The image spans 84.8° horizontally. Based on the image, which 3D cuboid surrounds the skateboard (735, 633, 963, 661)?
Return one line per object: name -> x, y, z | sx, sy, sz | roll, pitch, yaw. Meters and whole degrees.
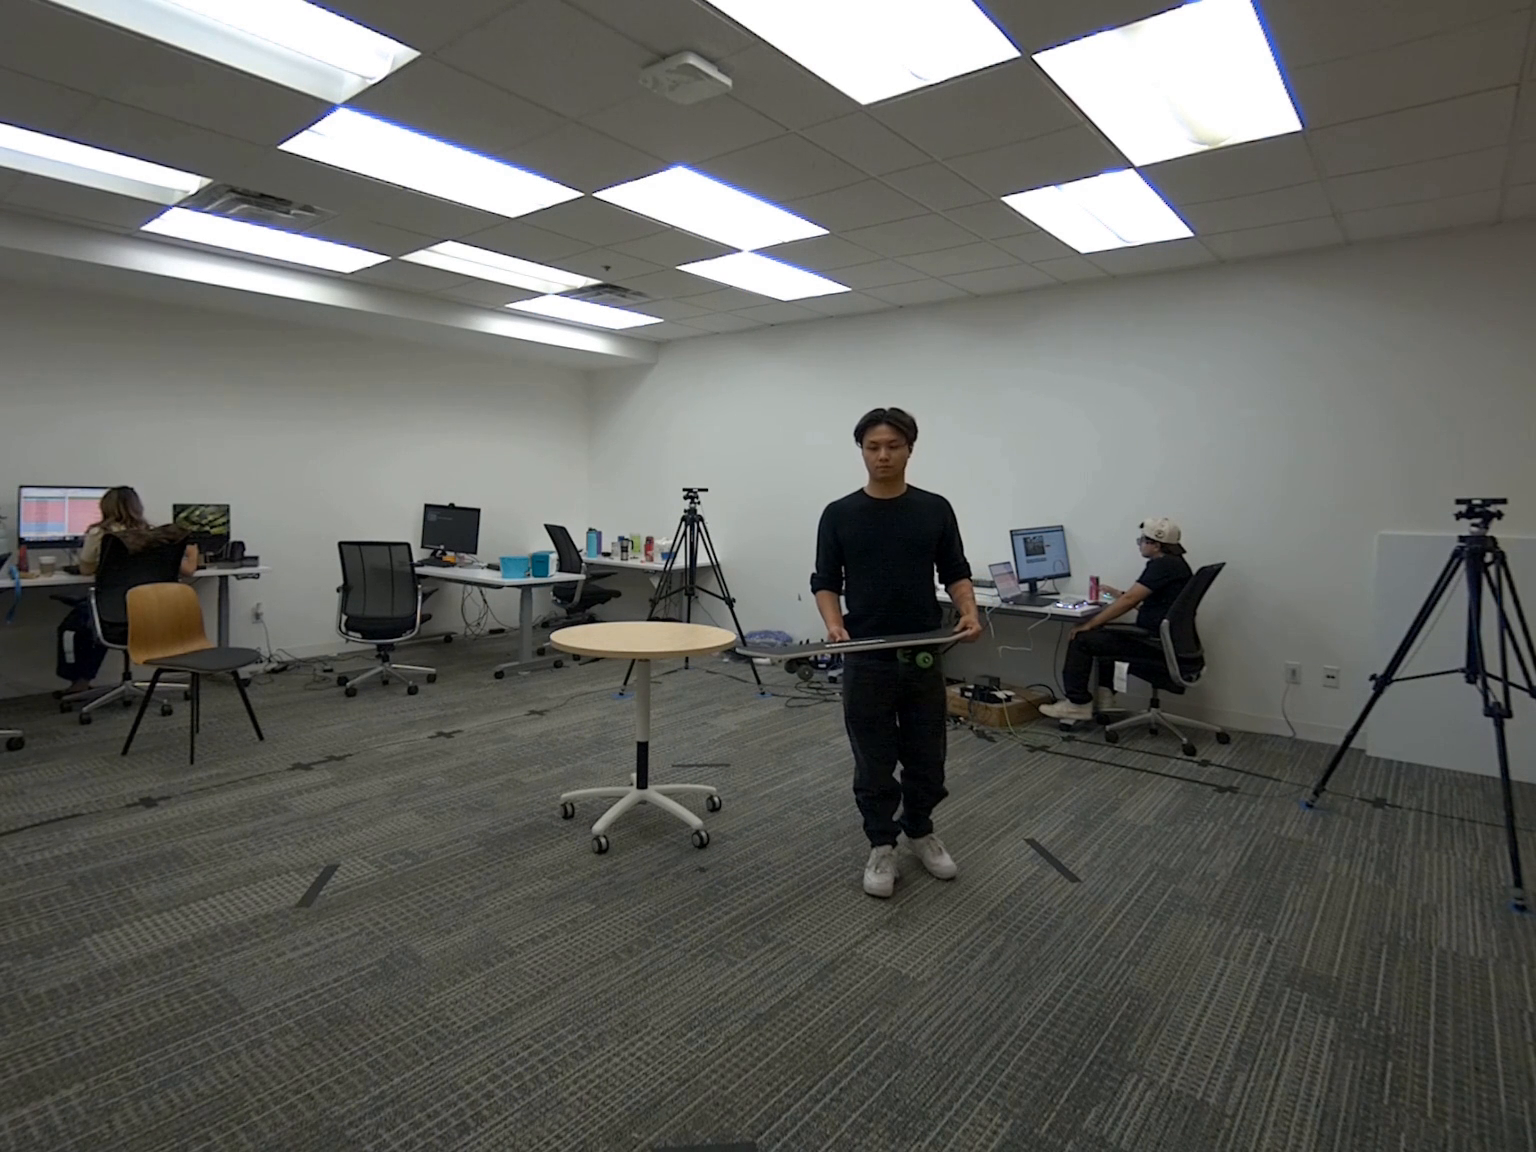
skateboard -> 0.282, 0.251, 2.766 | 0.778, 0.110, 0.195 | -4, 1, -9
